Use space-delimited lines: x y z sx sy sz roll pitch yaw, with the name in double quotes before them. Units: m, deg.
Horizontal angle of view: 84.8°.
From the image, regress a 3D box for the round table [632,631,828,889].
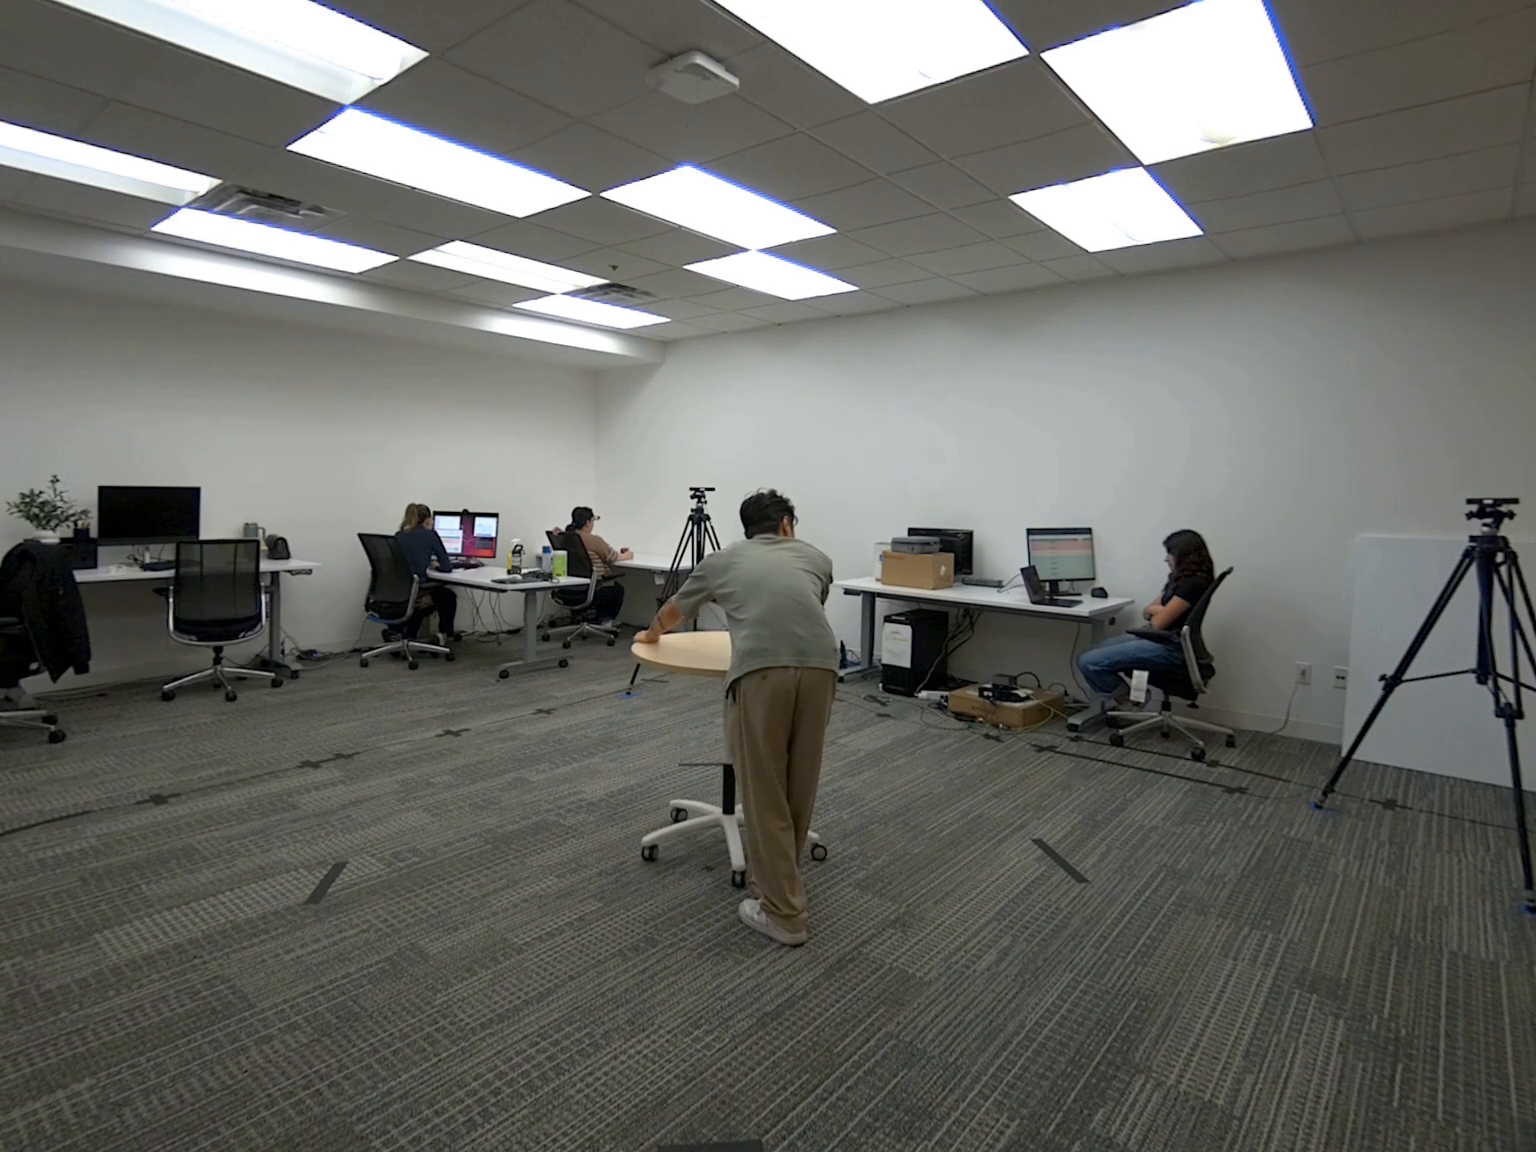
"round table" -0.168 0.661 3.269 0.784 0.784 0.789 2 4 -2
